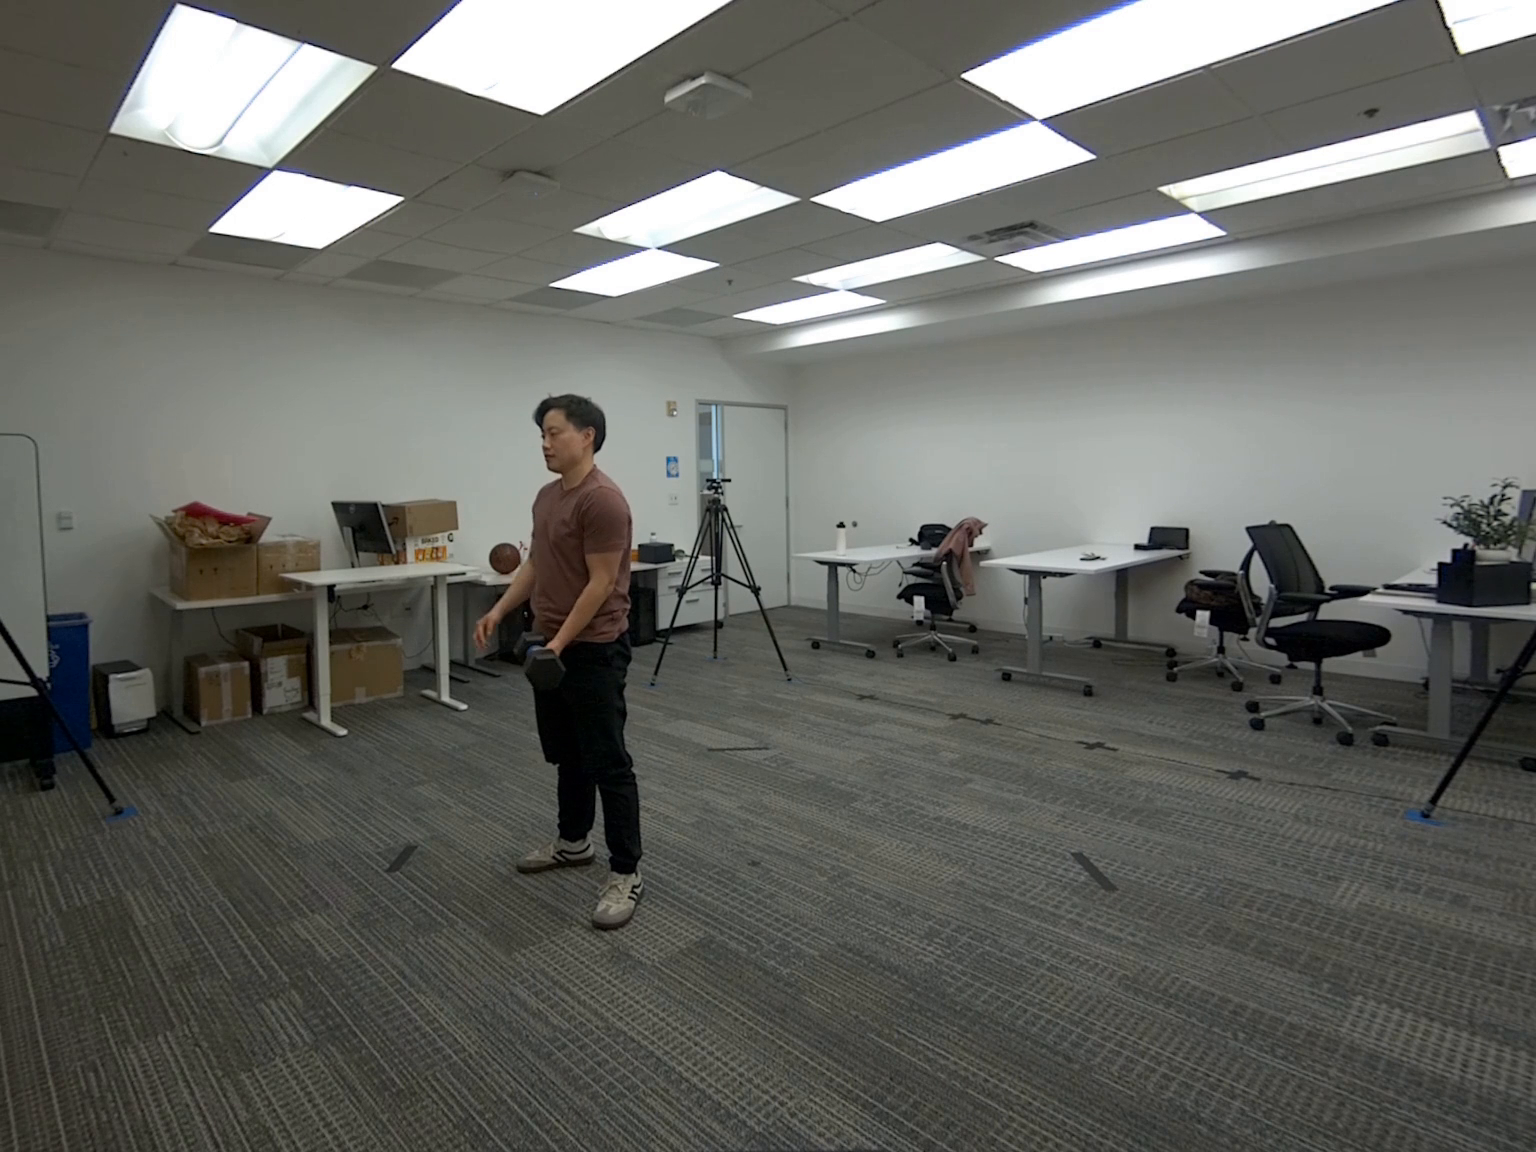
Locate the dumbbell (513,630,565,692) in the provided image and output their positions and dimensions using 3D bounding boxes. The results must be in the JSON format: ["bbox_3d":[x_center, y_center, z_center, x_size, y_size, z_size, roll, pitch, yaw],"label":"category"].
[{"bbox_3d":[-0.724,0.256,2.633,0.106,0.123,0.301,29,-3,-24],"label":"dumbbell"}]
